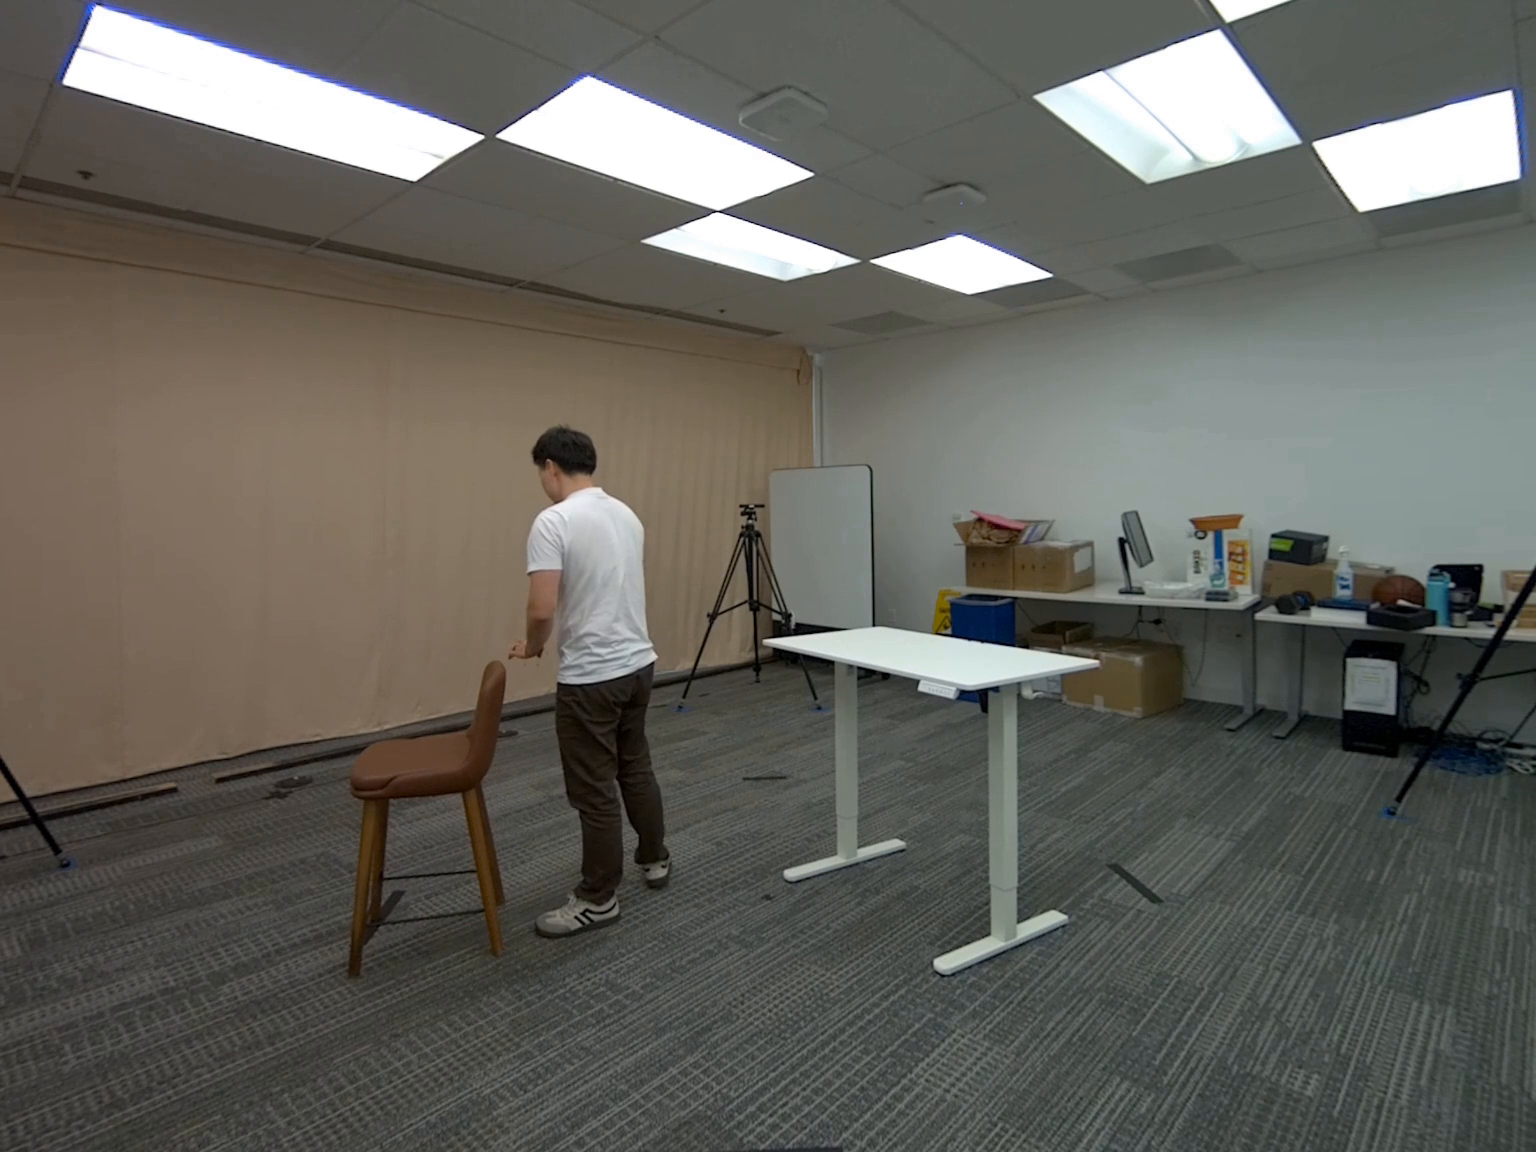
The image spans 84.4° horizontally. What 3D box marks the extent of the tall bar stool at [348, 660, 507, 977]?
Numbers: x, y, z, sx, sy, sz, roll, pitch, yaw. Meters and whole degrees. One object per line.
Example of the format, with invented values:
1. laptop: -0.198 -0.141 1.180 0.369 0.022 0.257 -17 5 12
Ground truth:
1. tall bar stool: -1.106 0.755 2.741 0.460 0.888 0.464 0 2 -15
